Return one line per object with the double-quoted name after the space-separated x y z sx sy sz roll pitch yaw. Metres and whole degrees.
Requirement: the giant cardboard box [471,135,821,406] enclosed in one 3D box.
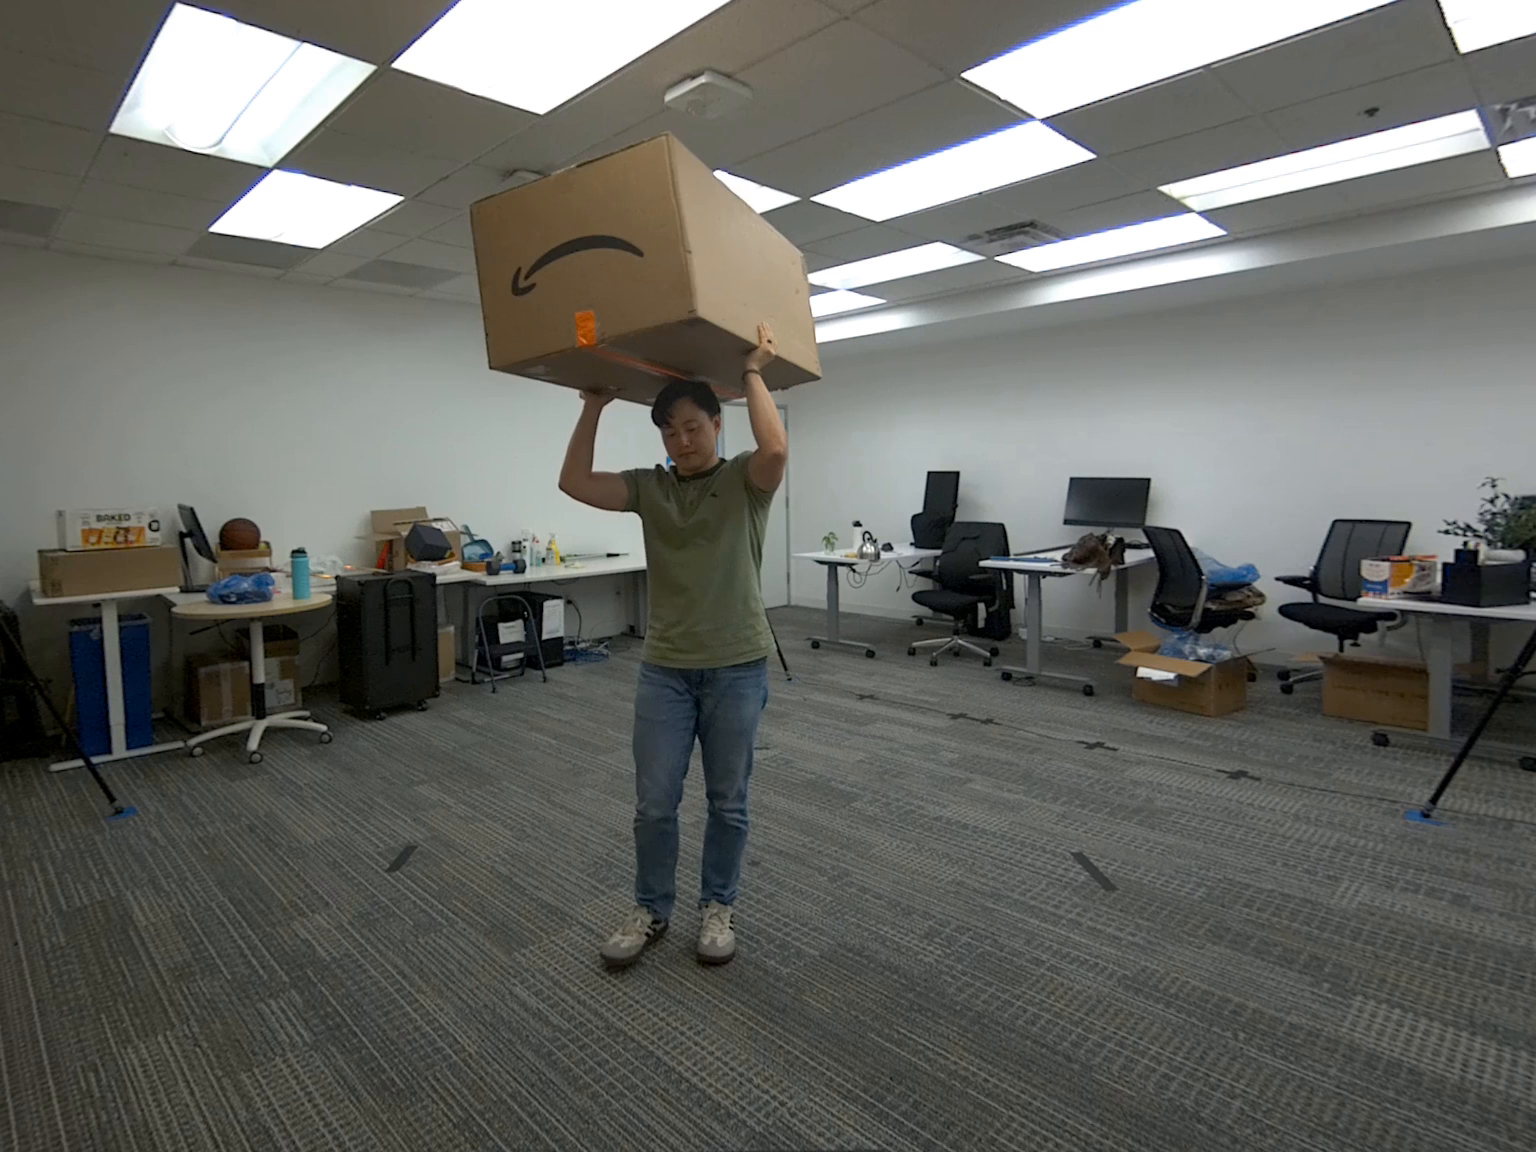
-0.283 -0.785 2.482 0.587 0.426 1.008 -8 2 21 "giant cardboard box"
